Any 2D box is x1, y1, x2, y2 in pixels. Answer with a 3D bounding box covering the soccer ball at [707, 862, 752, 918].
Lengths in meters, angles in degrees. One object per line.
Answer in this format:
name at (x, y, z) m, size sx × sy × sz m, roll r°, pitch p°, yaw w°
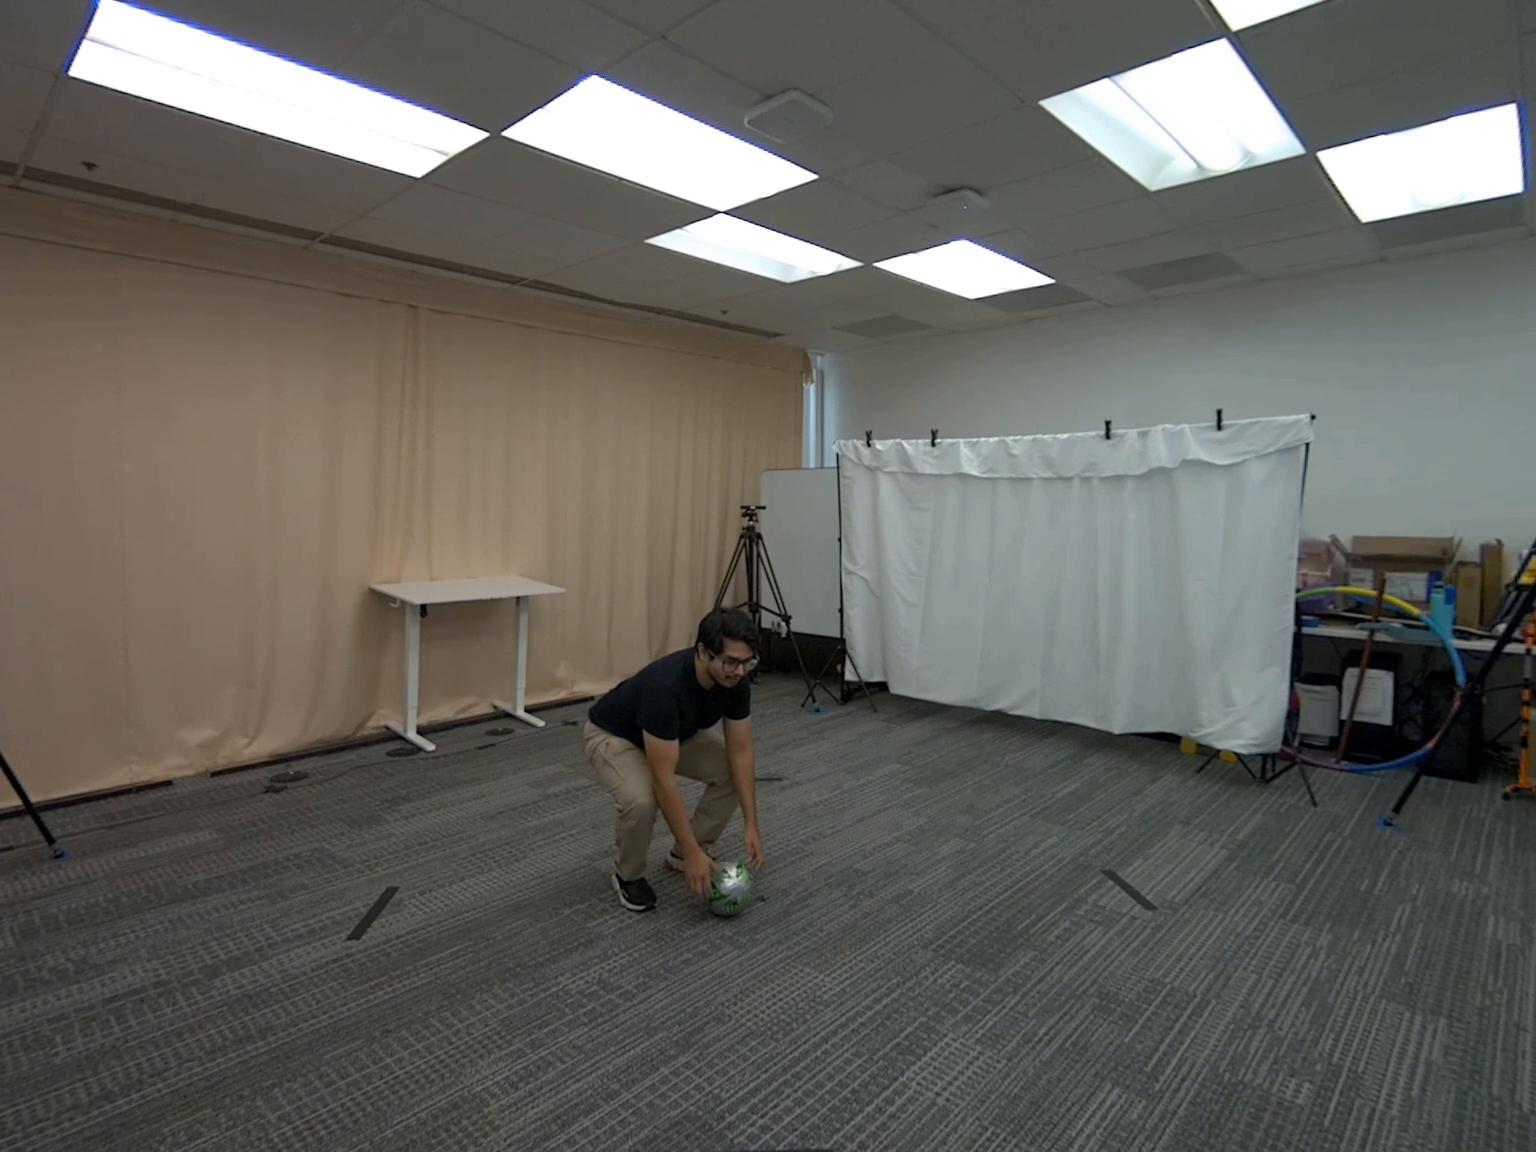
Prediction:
soccer ball at (-0.140, 1.064, 2.870) m, size 0.187 × 0.187 × 0.188 m, roll 0°, pitch 4°, yaw -2°
